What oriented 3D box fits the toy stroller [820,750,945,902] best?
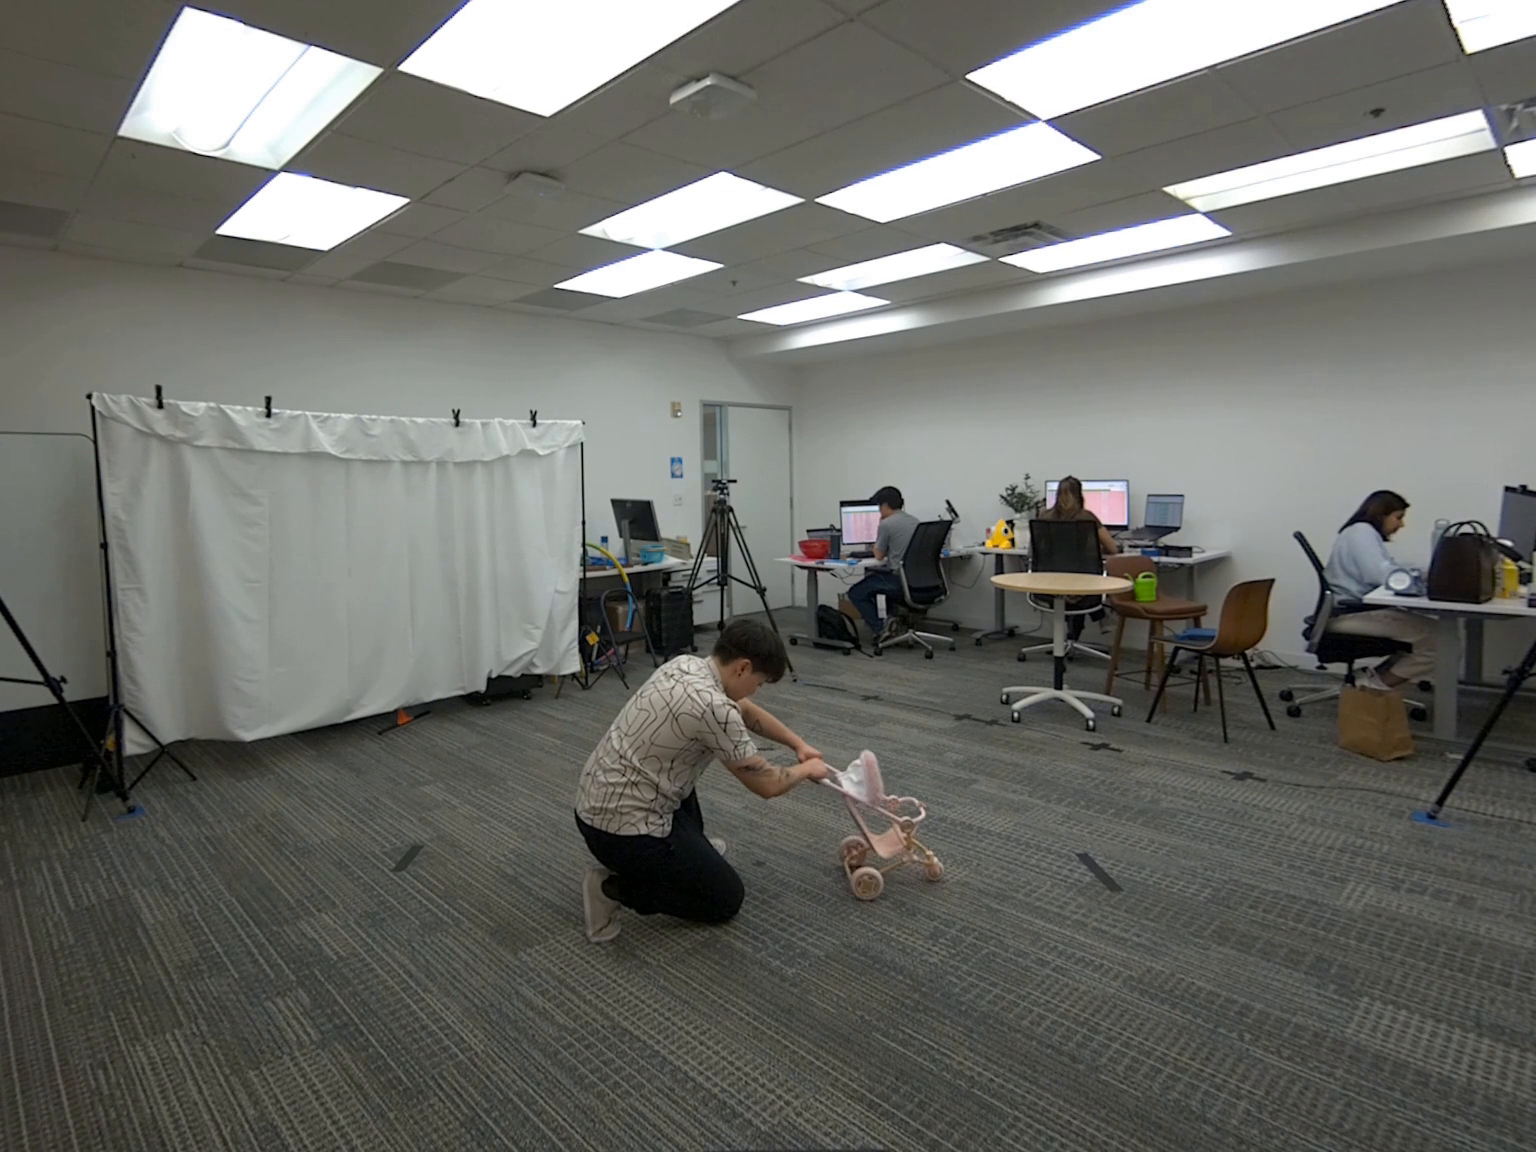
[{"bbox_3d":[0.369,0.827,2.934,0.342,0.533,0.282,-18,4,3],"label":"toy stroller"}]
